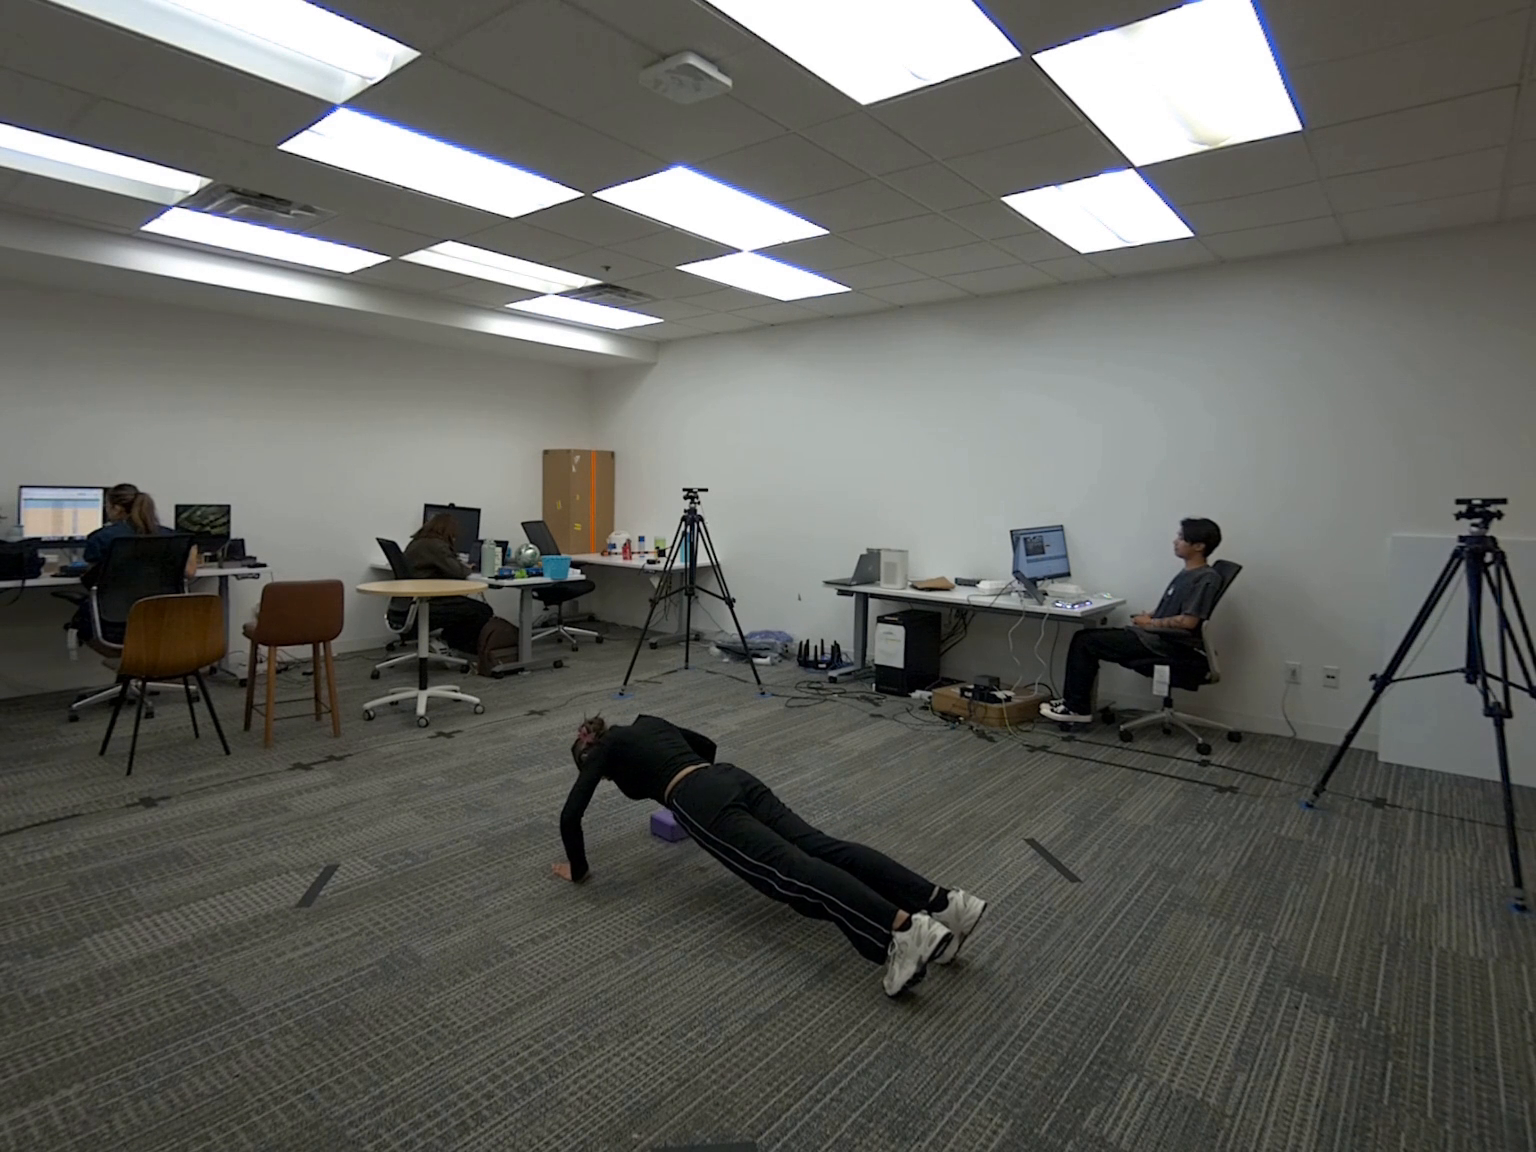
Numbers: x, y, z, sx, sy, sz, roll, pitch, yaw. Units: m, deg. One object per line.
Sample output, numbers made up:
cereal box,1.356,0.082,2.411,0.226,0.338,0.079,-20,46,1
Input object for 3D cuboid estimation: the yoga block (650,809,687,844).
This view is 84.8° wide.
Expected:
yoga block,-0.359,0.992,3.458,0.222,0.076,0.154,-3,6,-44
